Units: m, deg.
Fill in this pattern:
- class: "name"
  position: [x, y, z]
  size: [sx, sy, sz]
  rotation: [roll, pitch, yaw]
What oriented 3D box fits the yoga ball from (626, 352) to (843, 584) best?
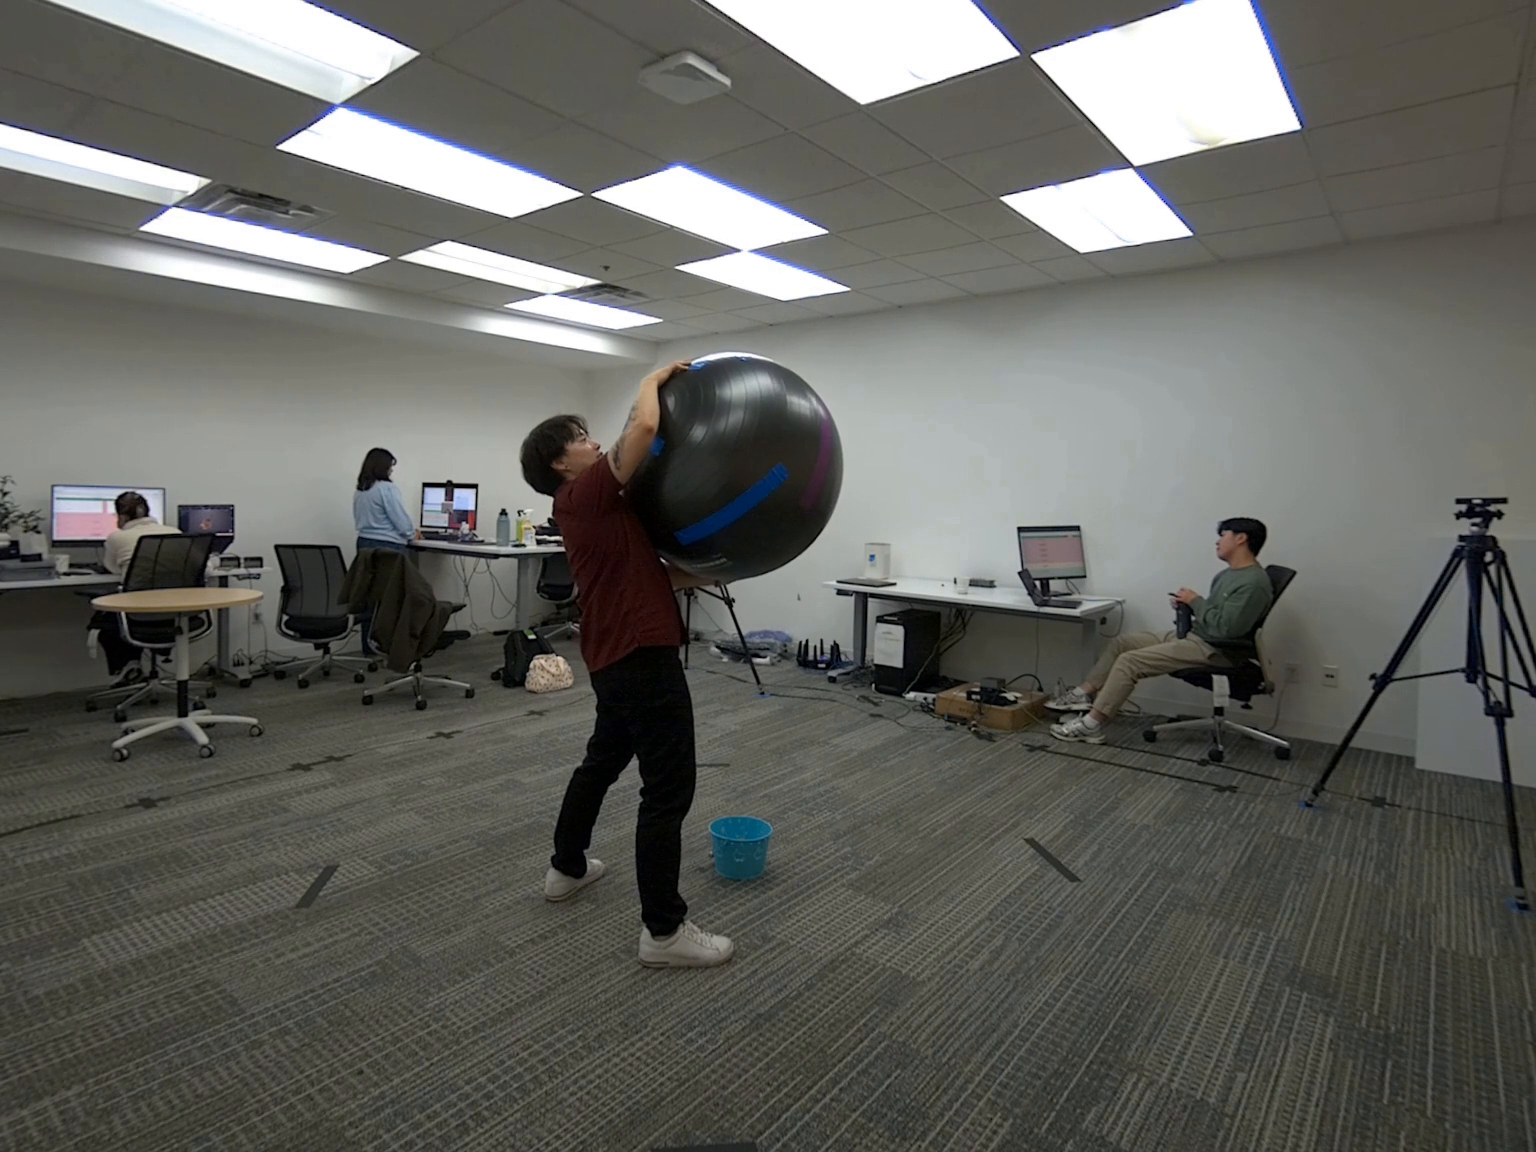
- class: "yoga ball"
  position: [-0.137, -0.365, 2.863]
  size: [0.757, 0.756, 0.762]
  rotation: [1, 4, -2]
